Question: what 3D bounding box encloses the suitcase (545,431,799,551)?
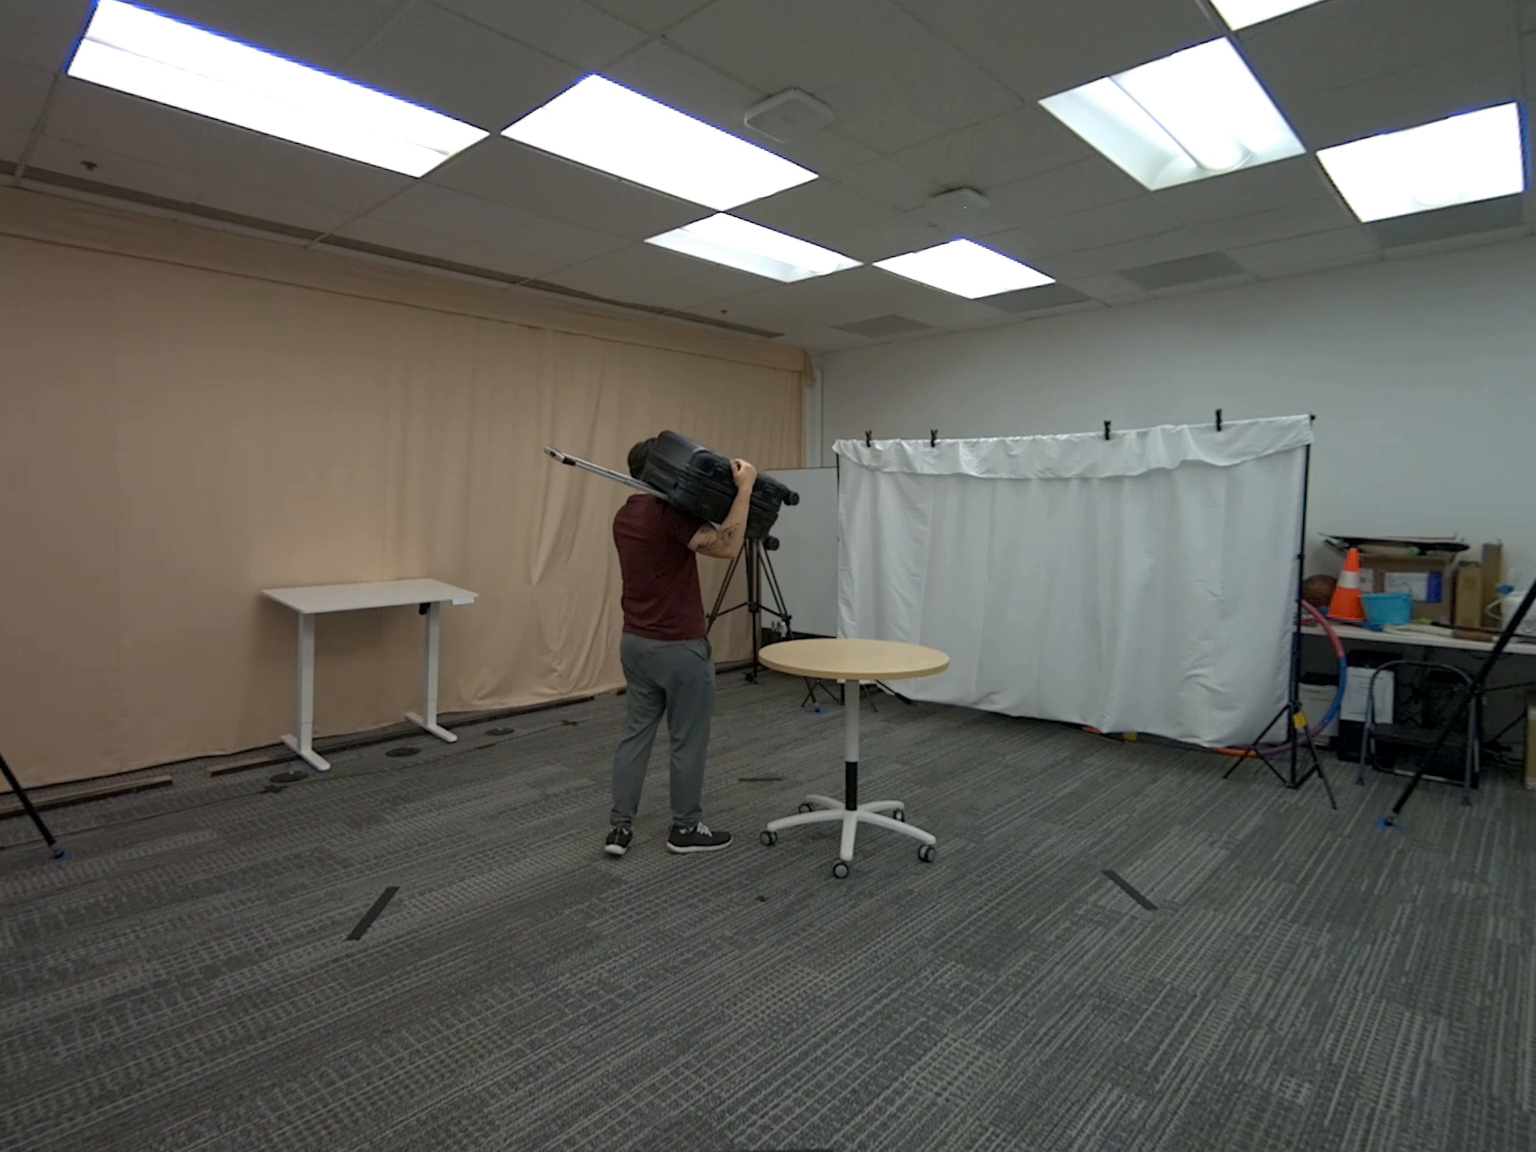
[{"bbox_3d":[-0.333,-0.404,3.160,0.944,0.257,0.398,20,7,-41],"label":"suitcase"}]
